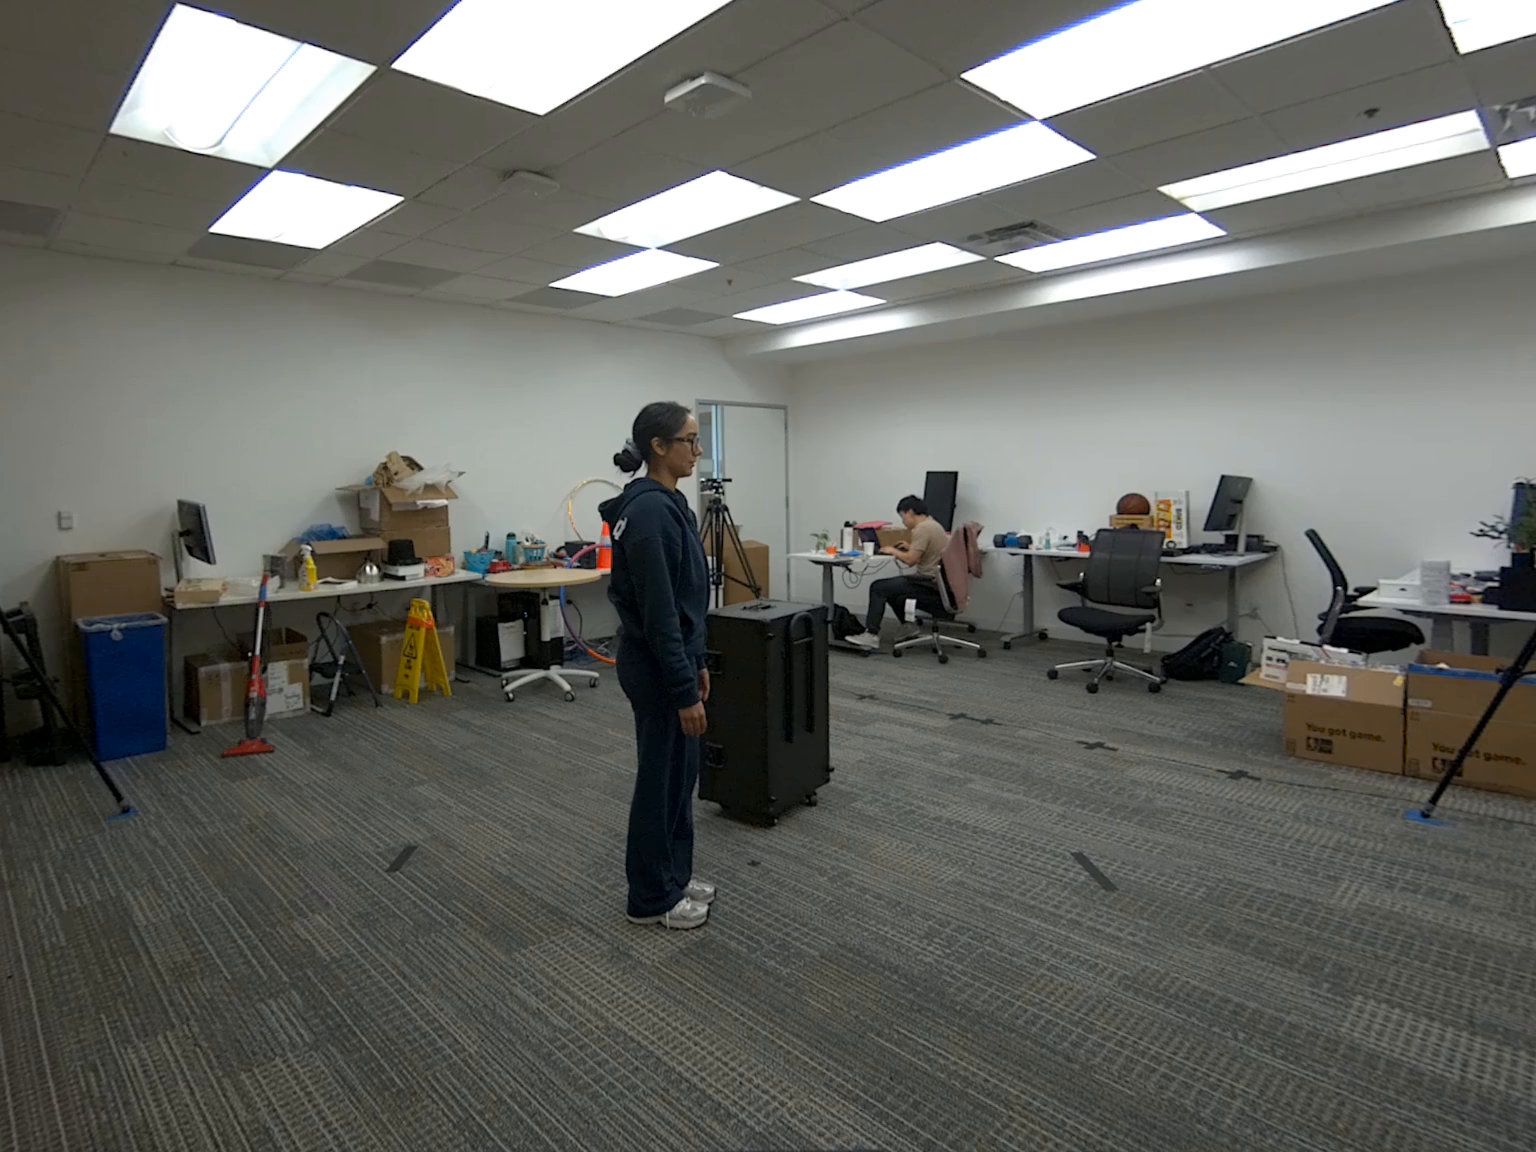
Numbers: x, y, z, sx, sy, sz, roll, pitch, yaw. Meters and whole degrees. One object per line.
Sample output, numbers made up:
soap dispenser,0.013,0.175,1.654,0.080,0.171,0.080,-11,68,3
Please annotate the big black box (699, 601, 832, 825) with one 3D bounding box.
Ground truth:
big black box,0.002,0.558,3.619,0.408,0.858,0.508,4,6,36
